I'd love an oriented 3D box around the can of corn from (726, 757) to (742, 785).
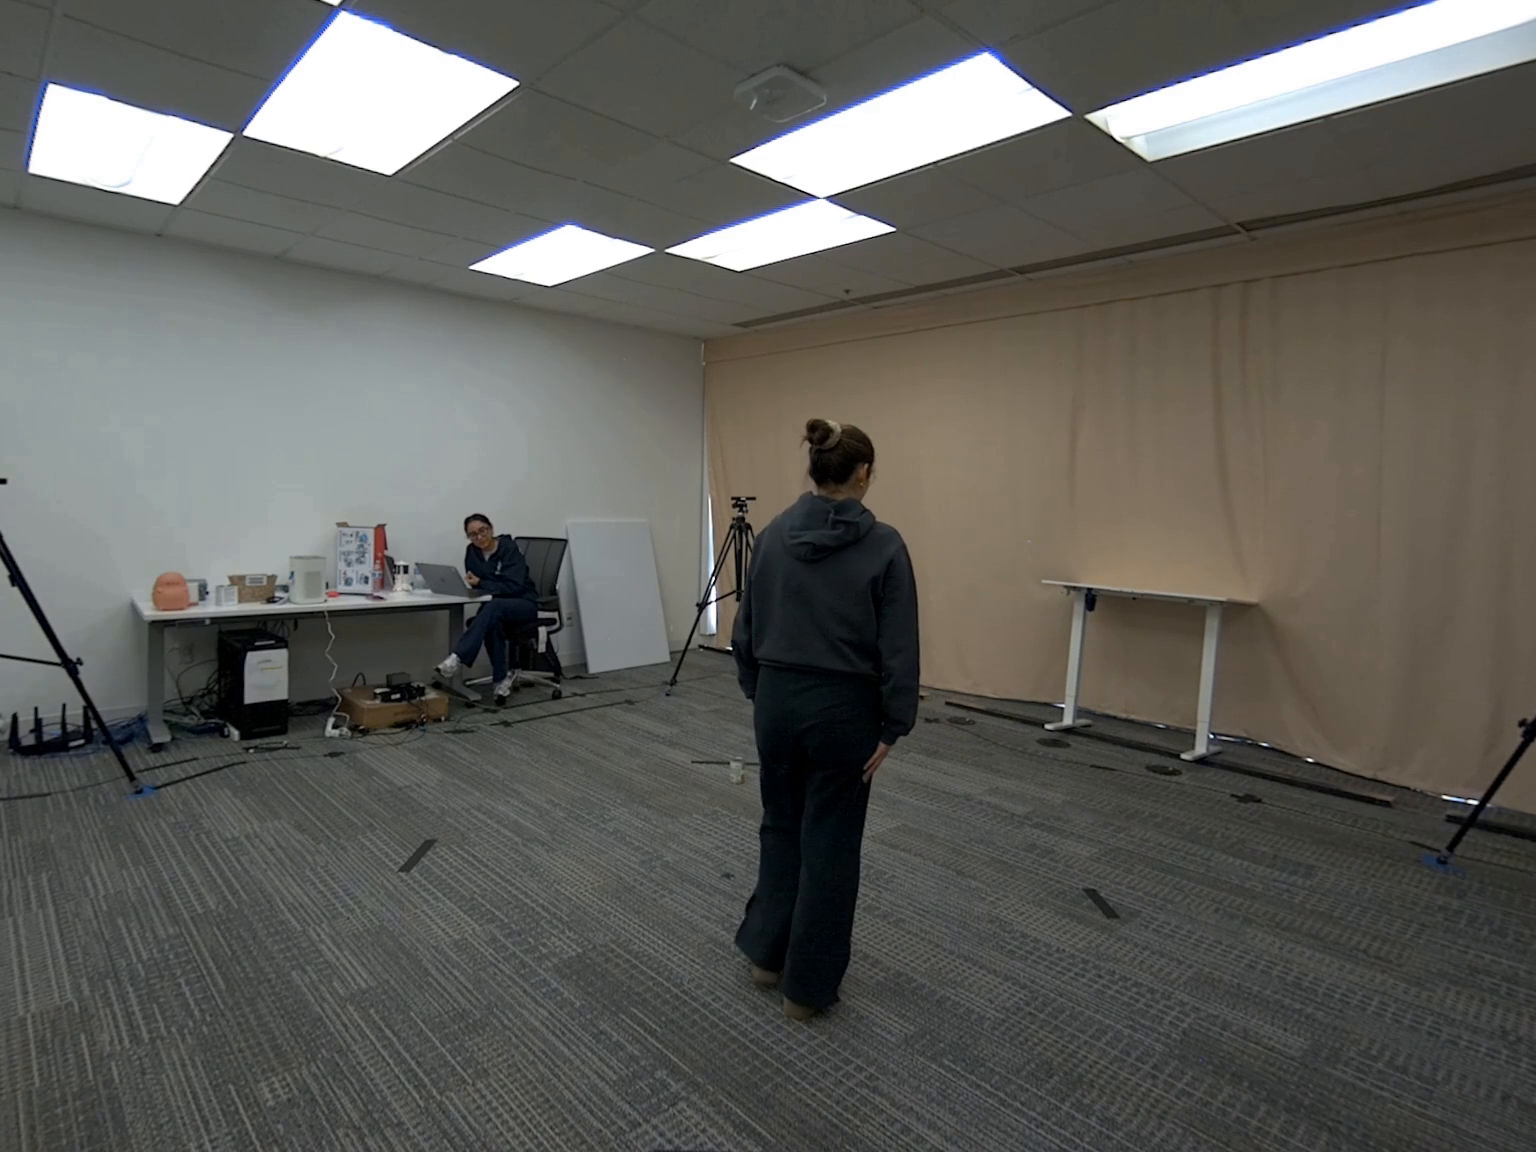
[{"bbox_3d":[-0.172,0.960,4.175,0.074,0.111,0.074,0,4,-1],"label":"can of corn"}]
